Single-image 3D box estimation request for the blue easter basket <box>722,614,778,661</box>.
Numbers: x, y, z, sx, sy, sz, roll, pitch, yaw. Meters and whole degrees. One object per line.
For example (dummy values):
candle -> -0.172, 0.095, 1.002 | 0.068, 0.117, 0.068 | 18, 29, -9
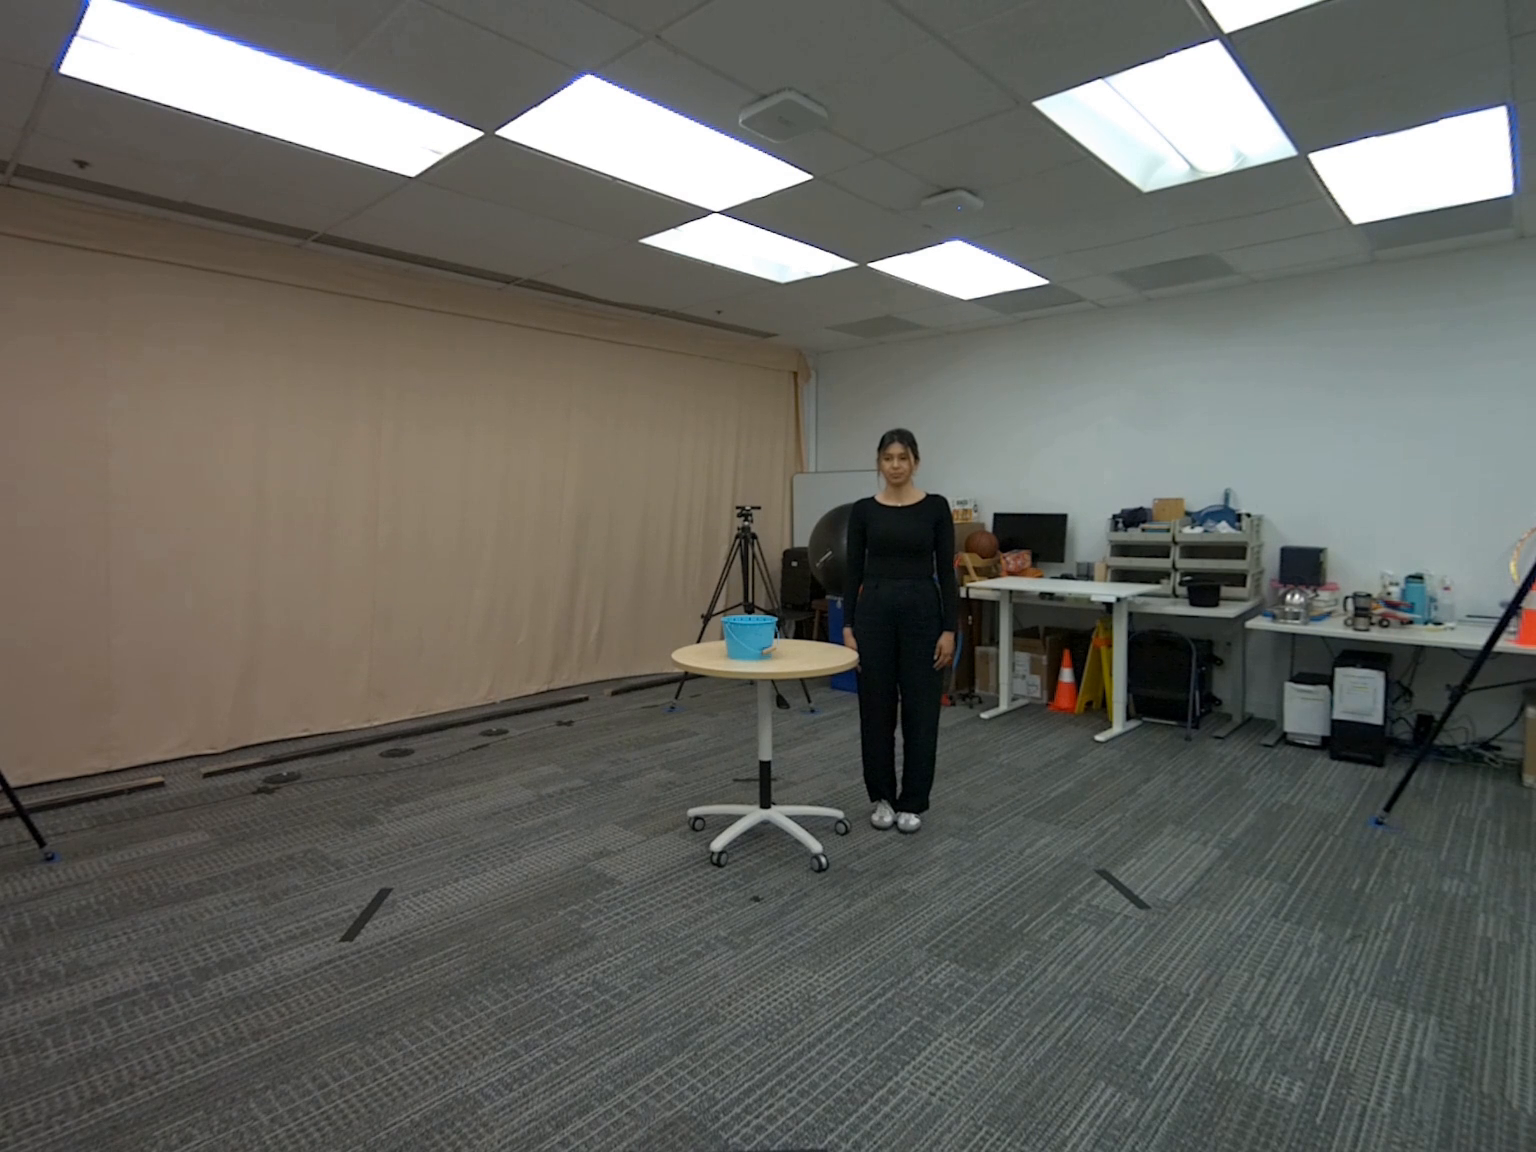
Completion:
blue easter basket -> -0.077, 0.253, 3.415 | 0.243, 0.155, 0.244 | 0, 4, -2
